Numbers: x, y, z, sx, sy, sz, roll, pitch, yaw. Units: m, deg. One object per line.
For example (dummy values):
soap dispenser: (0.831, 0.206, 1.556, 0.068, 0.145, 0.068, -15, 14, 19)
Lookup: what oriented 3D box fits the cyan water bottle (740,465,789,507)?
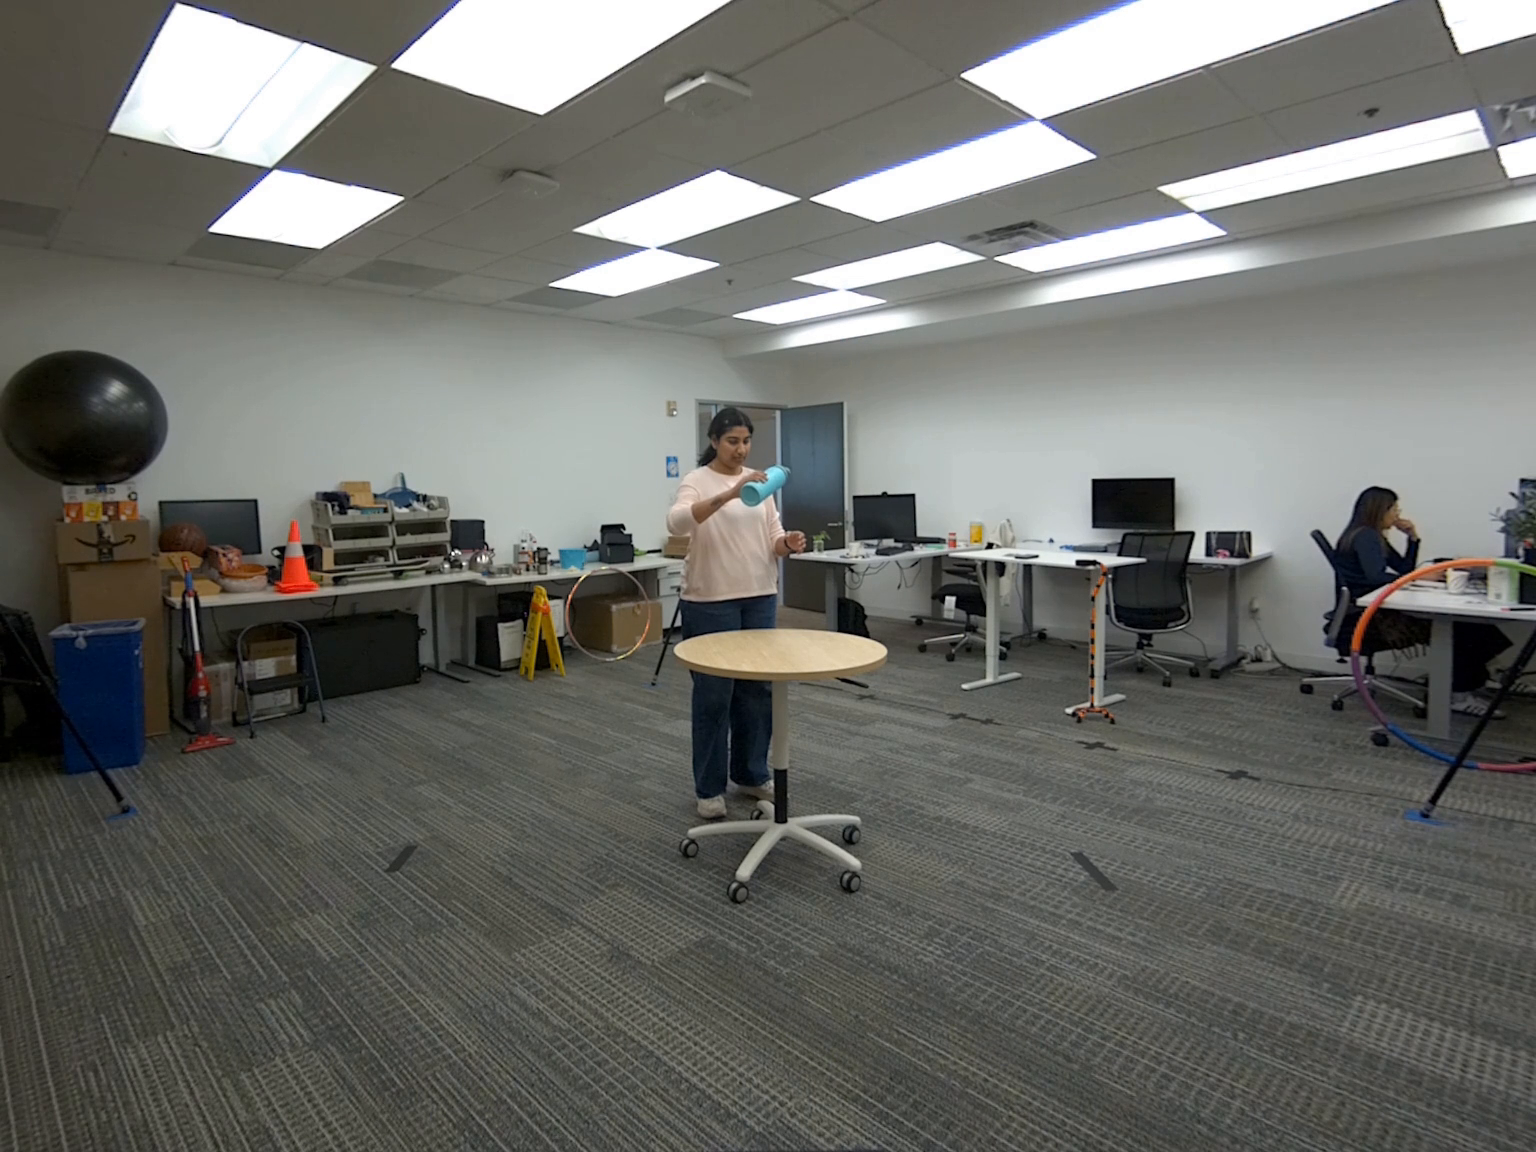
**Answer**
cyan water bottle: (0.001, -0.351, 3.271, 0.094, 0.090, 0.282, 1, 25, 27)
